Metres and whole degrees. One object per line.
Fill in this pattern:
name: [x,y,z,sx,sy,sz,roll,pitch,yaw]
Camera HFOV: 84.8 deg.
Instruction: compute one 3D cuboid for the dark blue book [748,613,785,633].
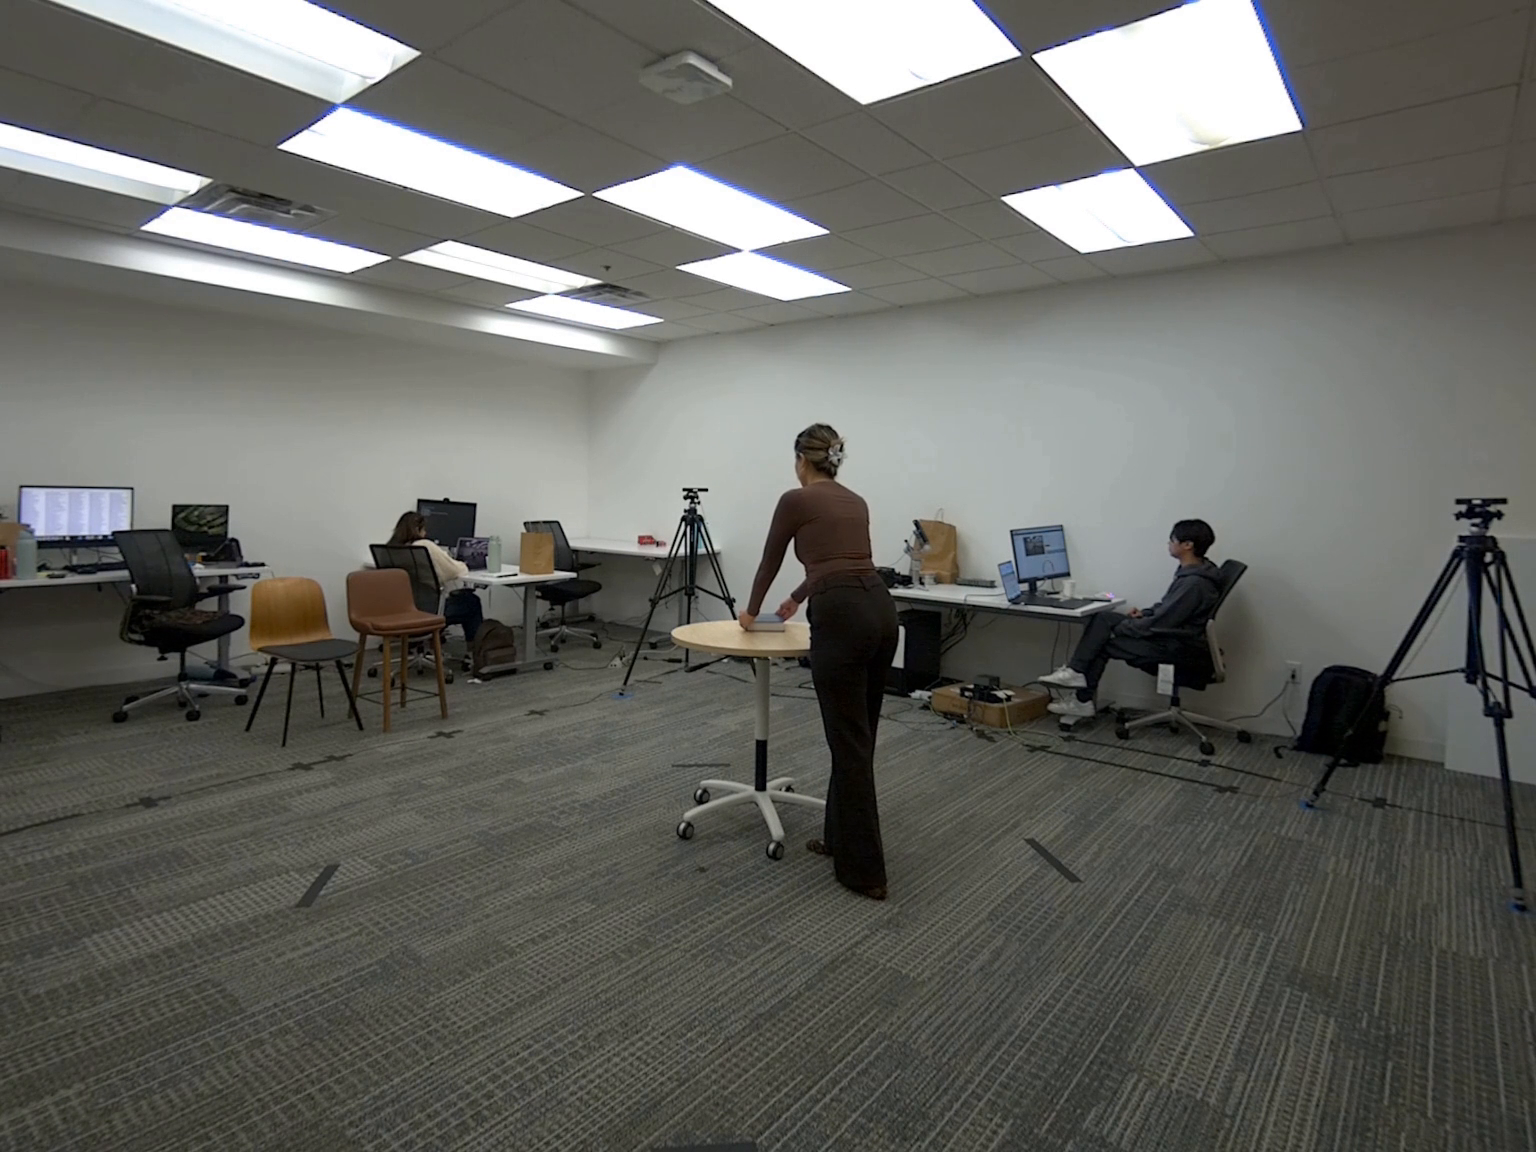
dark blue book: [-0.034,0.200,3.710,0.163,0.045,0.246,1,5,-3]
